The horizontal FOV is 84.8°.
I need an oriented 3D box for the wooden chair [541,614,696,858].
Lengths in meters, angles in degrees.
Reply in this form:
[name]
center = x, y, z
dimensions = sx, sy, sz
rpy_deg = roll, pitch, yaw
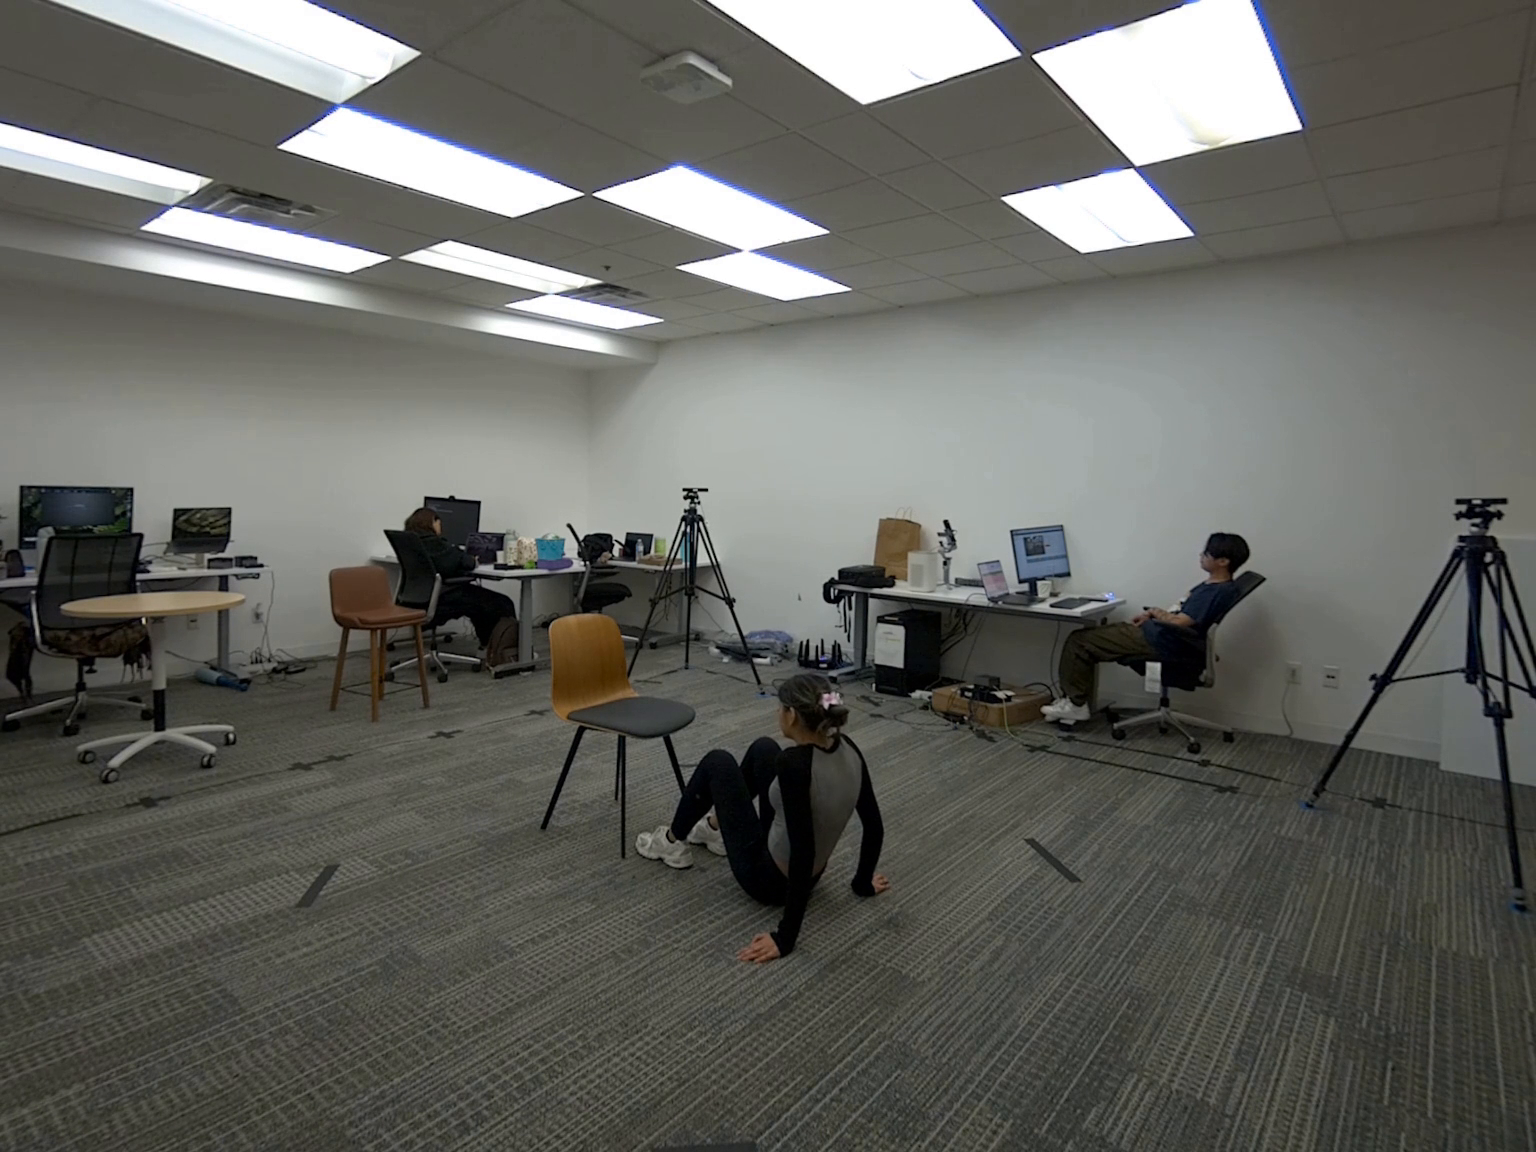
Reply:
[wooden chair]
center = -0.607, 0.599, 3.463
dimensions = 0.538, 0.877, 0.464
rpy_deg = -2, 1, 35
